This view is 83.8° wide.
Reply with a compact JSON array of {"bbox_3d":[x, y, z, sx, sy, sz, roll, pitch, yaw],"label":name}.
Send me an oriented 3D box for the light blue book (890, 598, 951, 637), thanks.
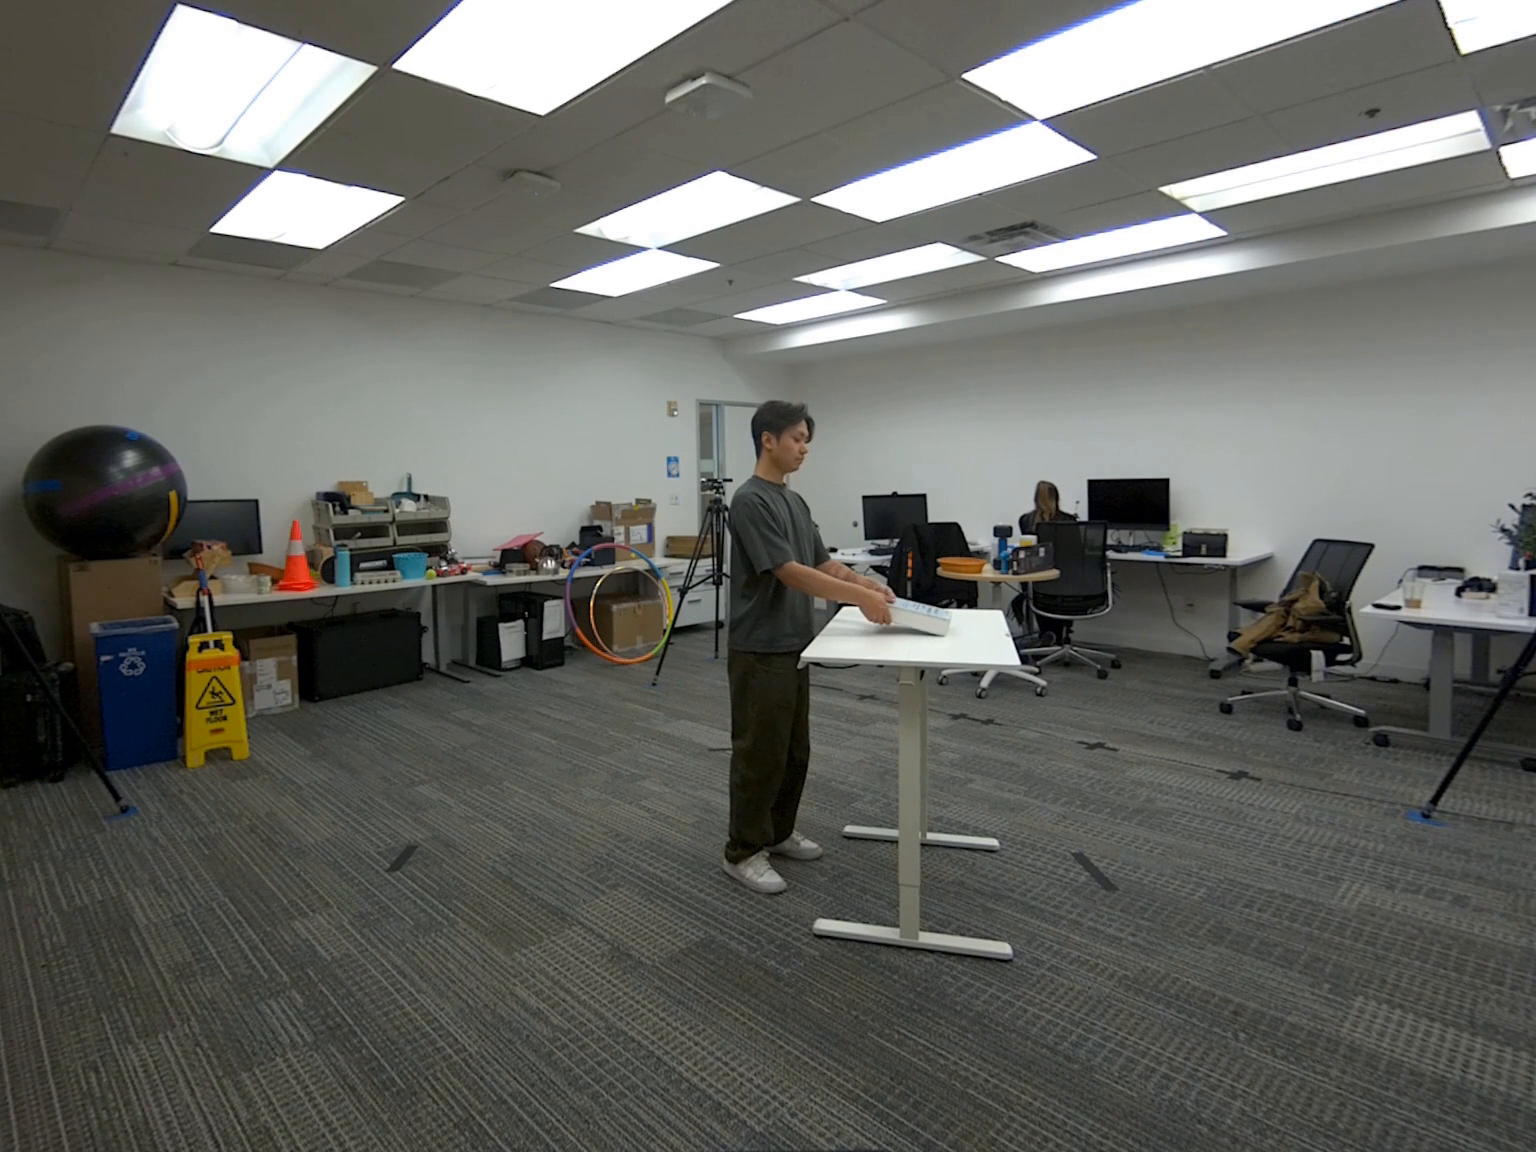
[{"bbox_3d":[0.489,0.128,2.841,0.265,0.058,0.190,10,9,13],"label":"light blue book"}]
